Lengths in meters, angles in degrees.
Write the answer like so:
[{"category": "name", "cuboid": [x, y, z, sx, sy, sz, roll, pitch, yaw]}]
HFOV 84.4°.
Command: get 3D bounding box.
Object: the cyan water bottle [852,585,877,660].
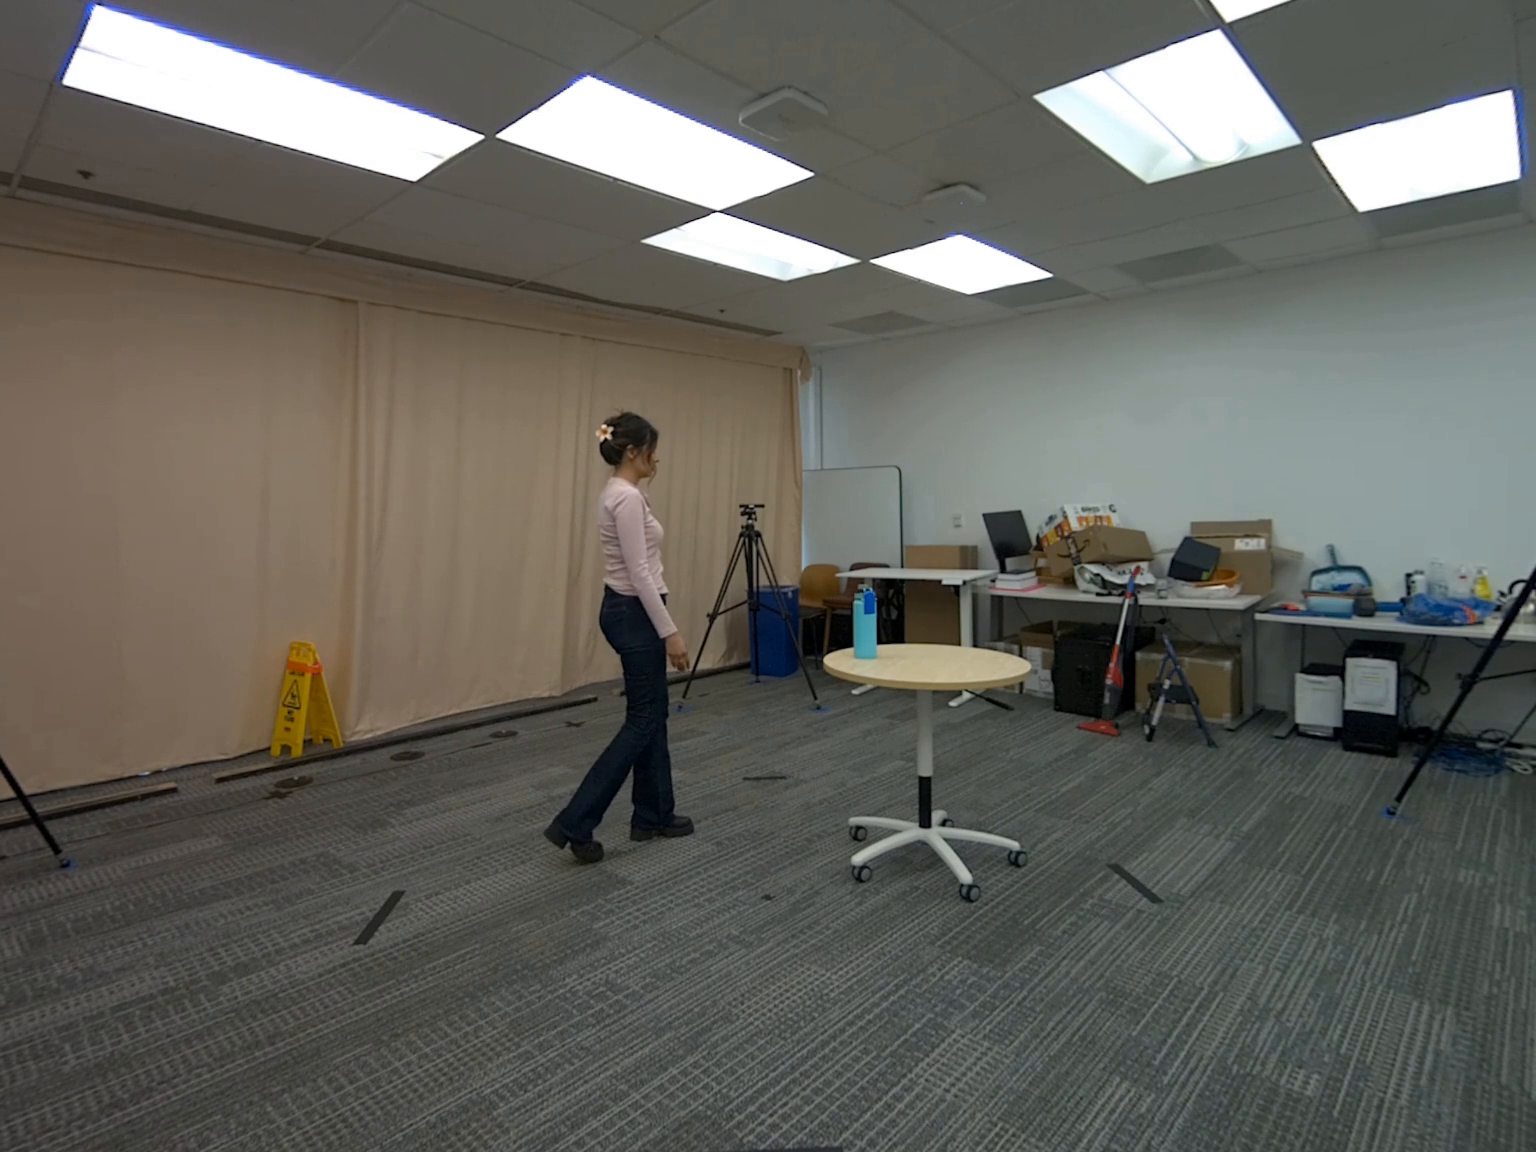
[{"category": "cyan water bottle", "cuboid": [0.393, 0.180, 3.305, 0.092, 0.283, 0.092, 0, 2, -2]}]
